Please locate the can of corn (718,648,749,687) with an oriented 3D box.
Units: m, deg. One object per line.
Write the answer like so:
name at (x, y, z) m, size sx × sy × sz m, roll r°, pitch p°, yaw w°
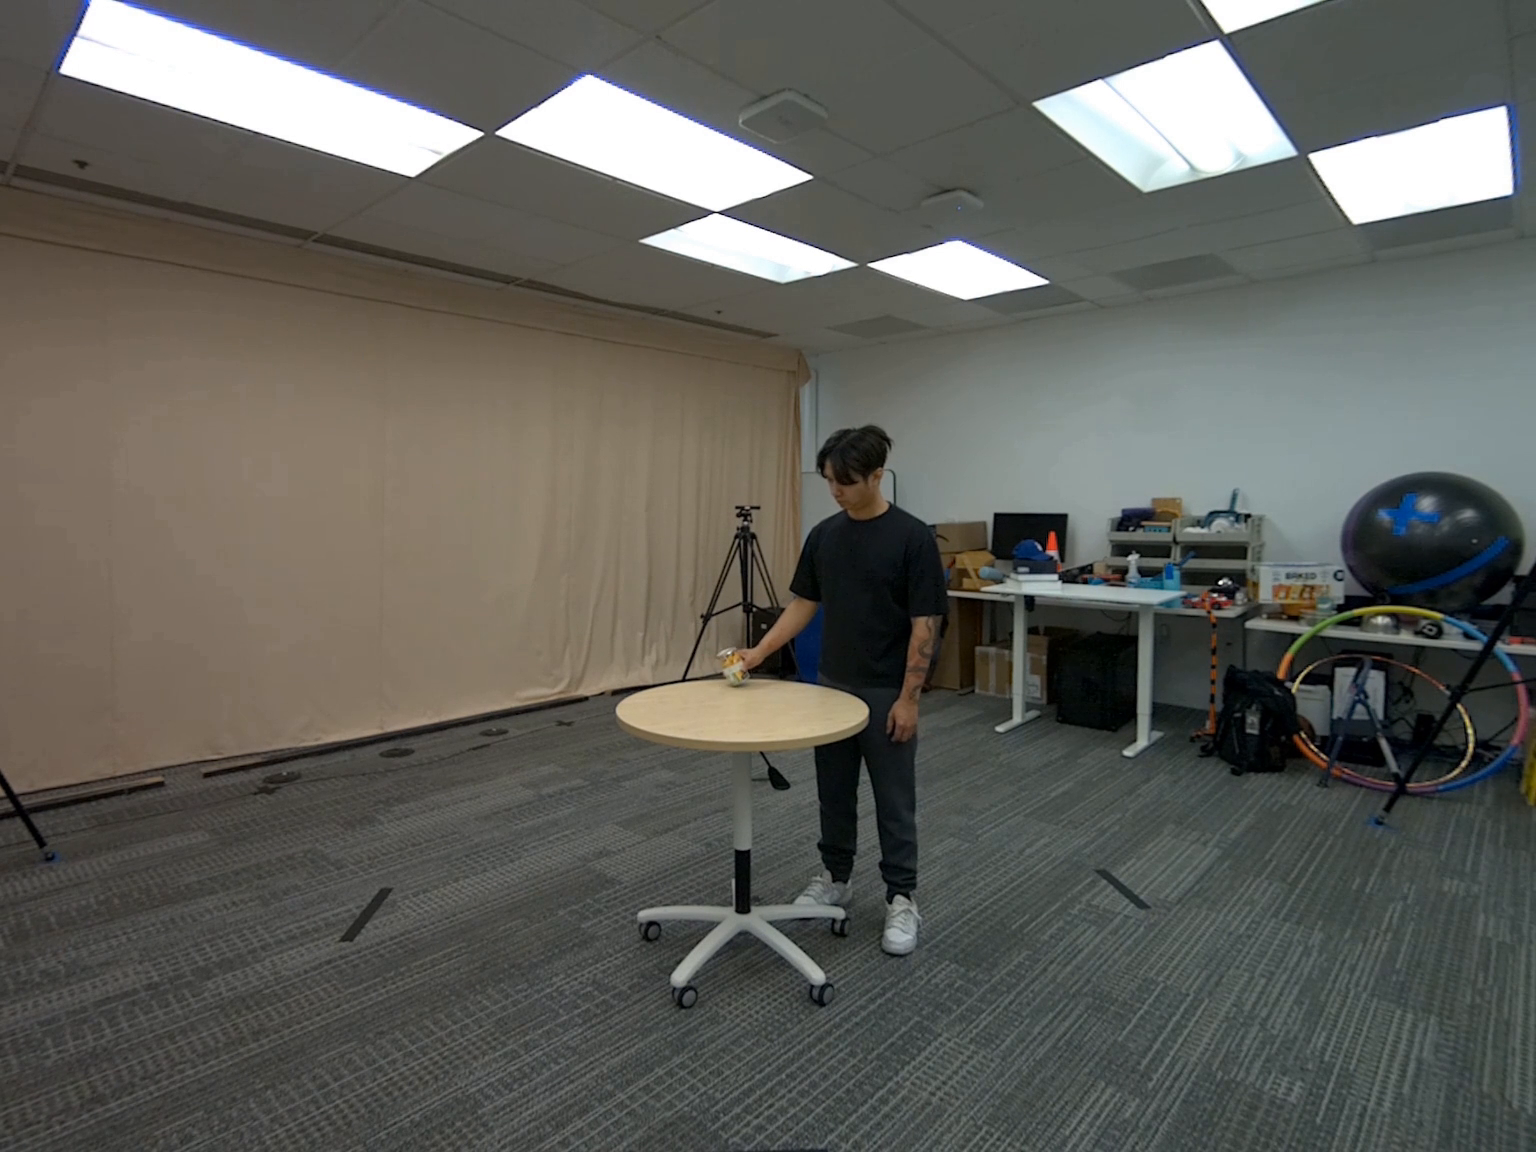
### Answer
can of corn at (-0.118, 0.311, 2.853) m, size 0.074 × 0.110 × 0.074 m, roll -21°, pitch 5°, yaw 0°
